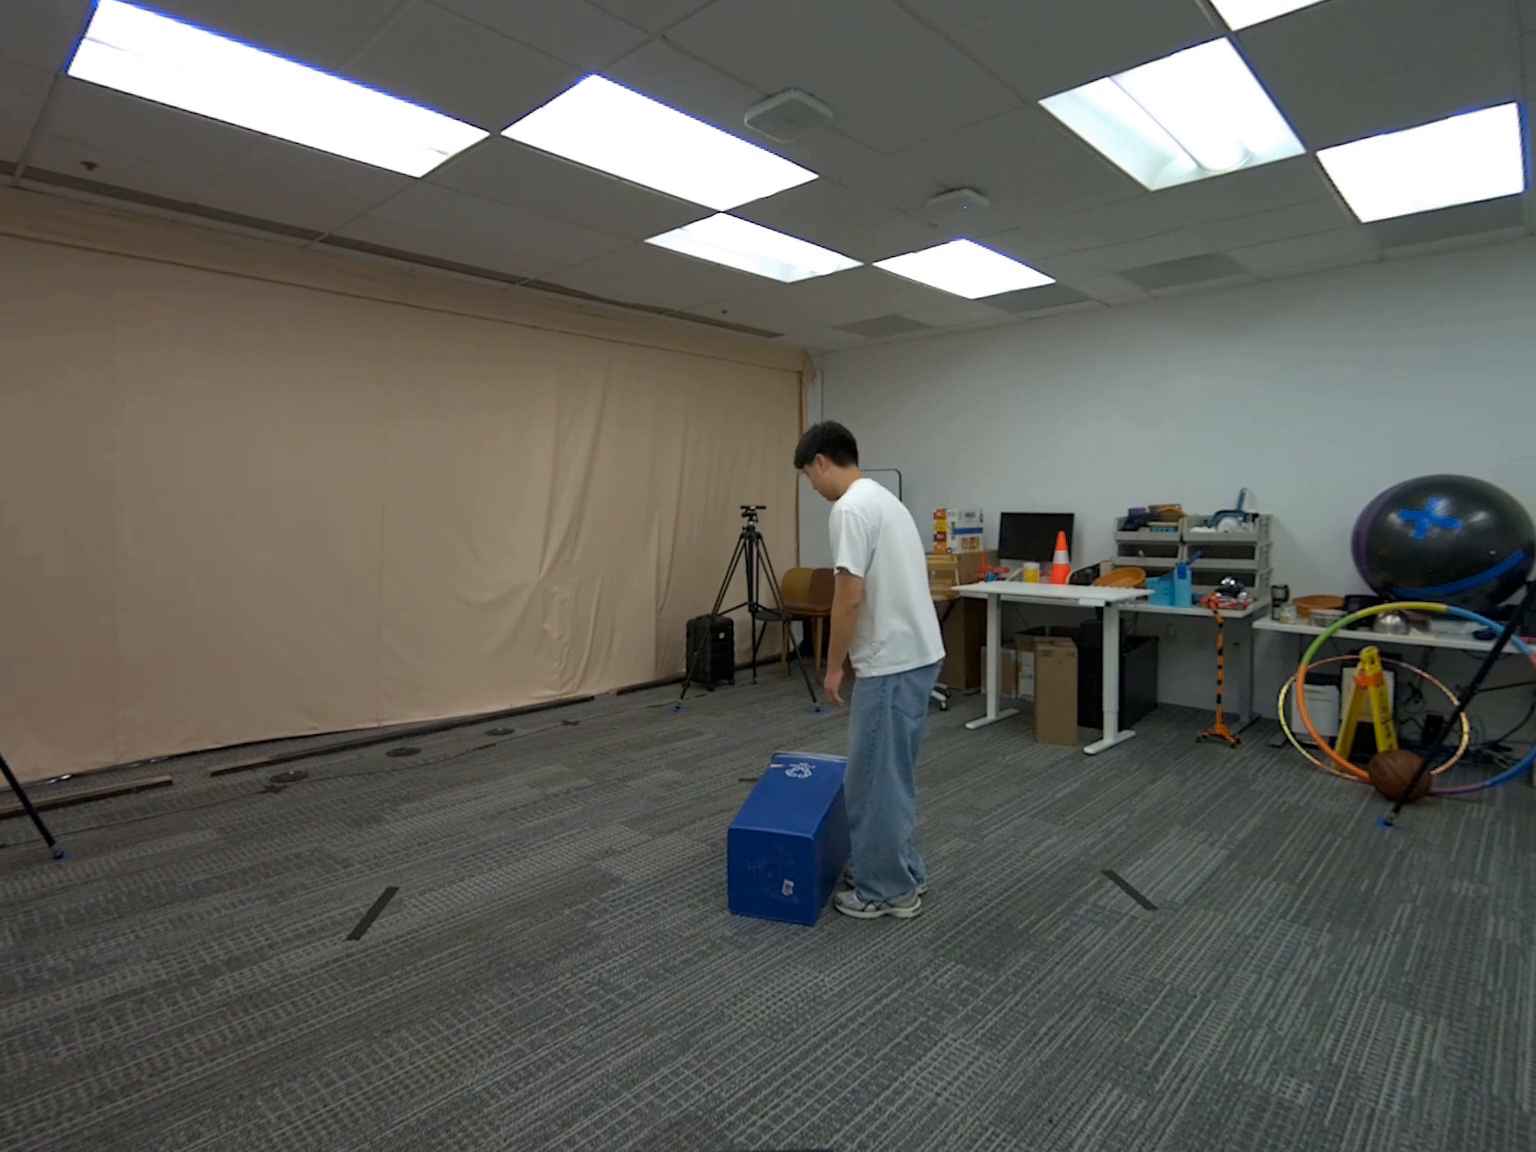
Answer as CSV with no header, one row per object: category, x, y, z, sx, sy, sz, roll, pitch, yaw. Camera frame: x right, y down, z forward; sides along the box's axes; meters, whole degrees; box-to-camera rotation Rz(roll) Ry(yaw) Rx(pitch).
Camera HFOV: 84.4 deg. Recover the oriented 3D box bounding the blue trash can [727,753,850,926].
blue trash can,0.108,0.961,3.148,0.381,0.376,0.703,2,8,16
